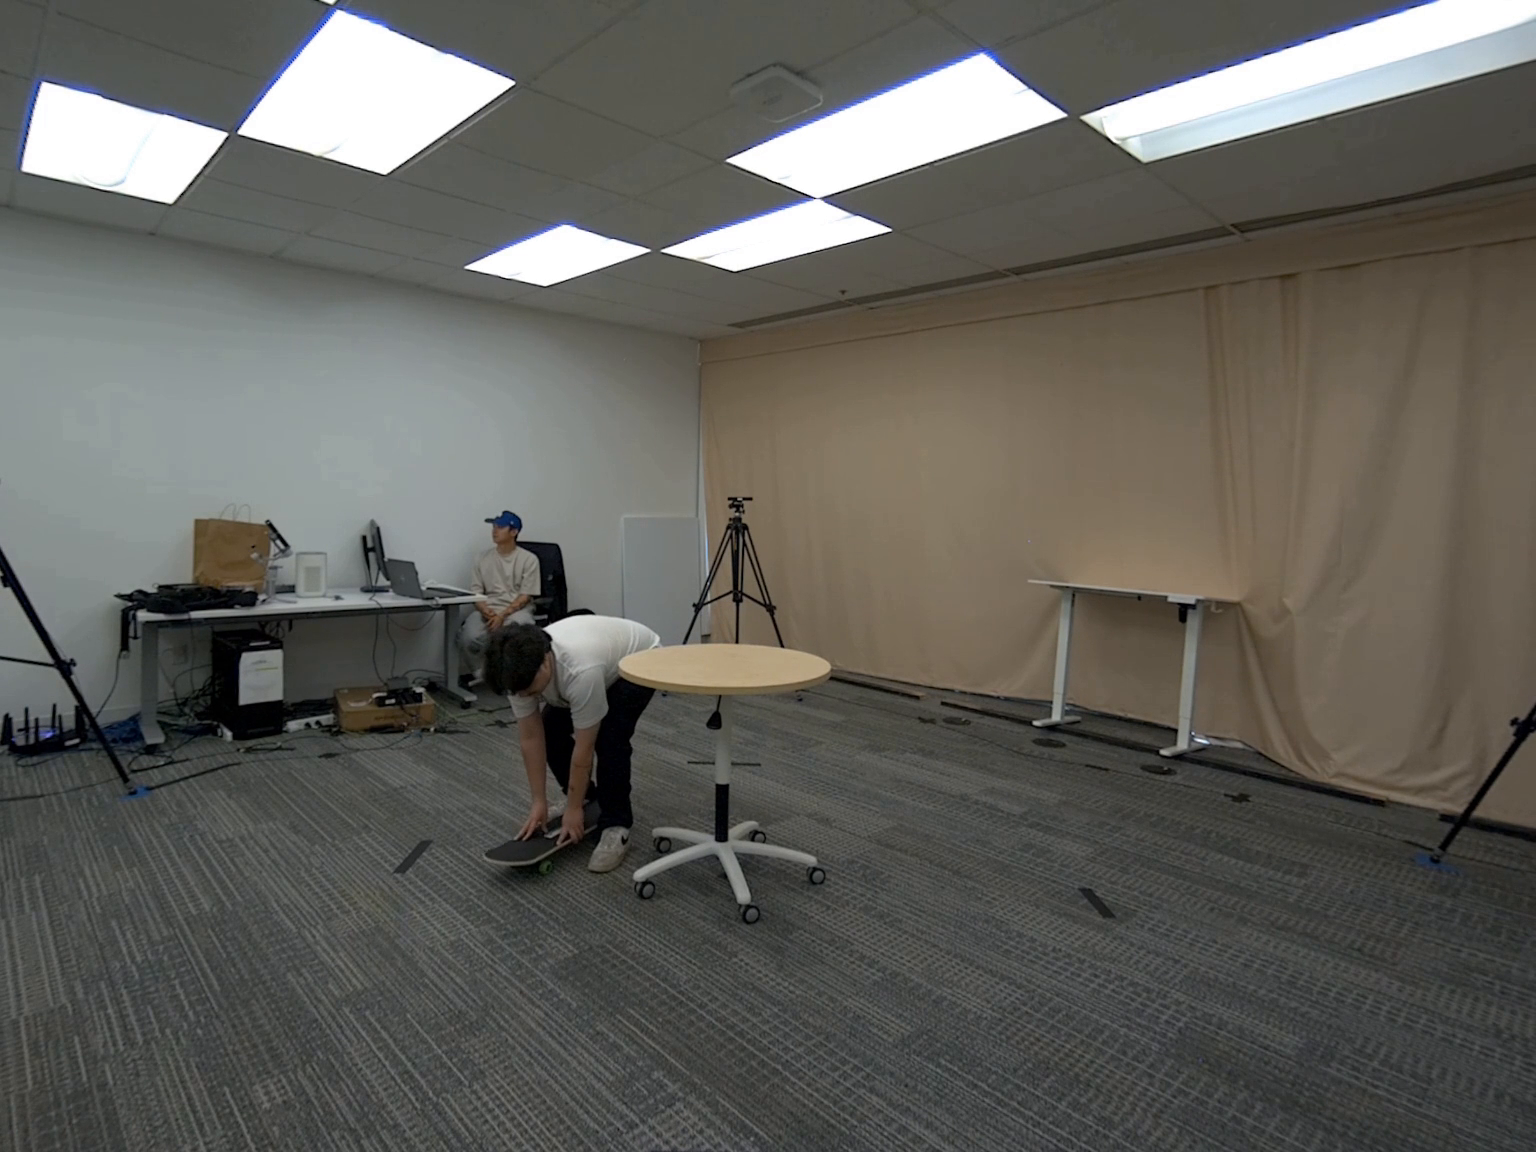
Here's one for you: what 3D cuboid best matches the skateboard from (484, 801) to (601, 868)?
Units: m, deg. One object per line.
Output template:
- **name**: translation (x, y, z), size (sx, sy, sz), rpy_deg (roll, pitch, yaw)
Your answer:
- **skateboard**: translation (-0.796, 1.023, 3.293), size (0.197, 0.110, 0.772), rpy_deg (3, 5, 25)
